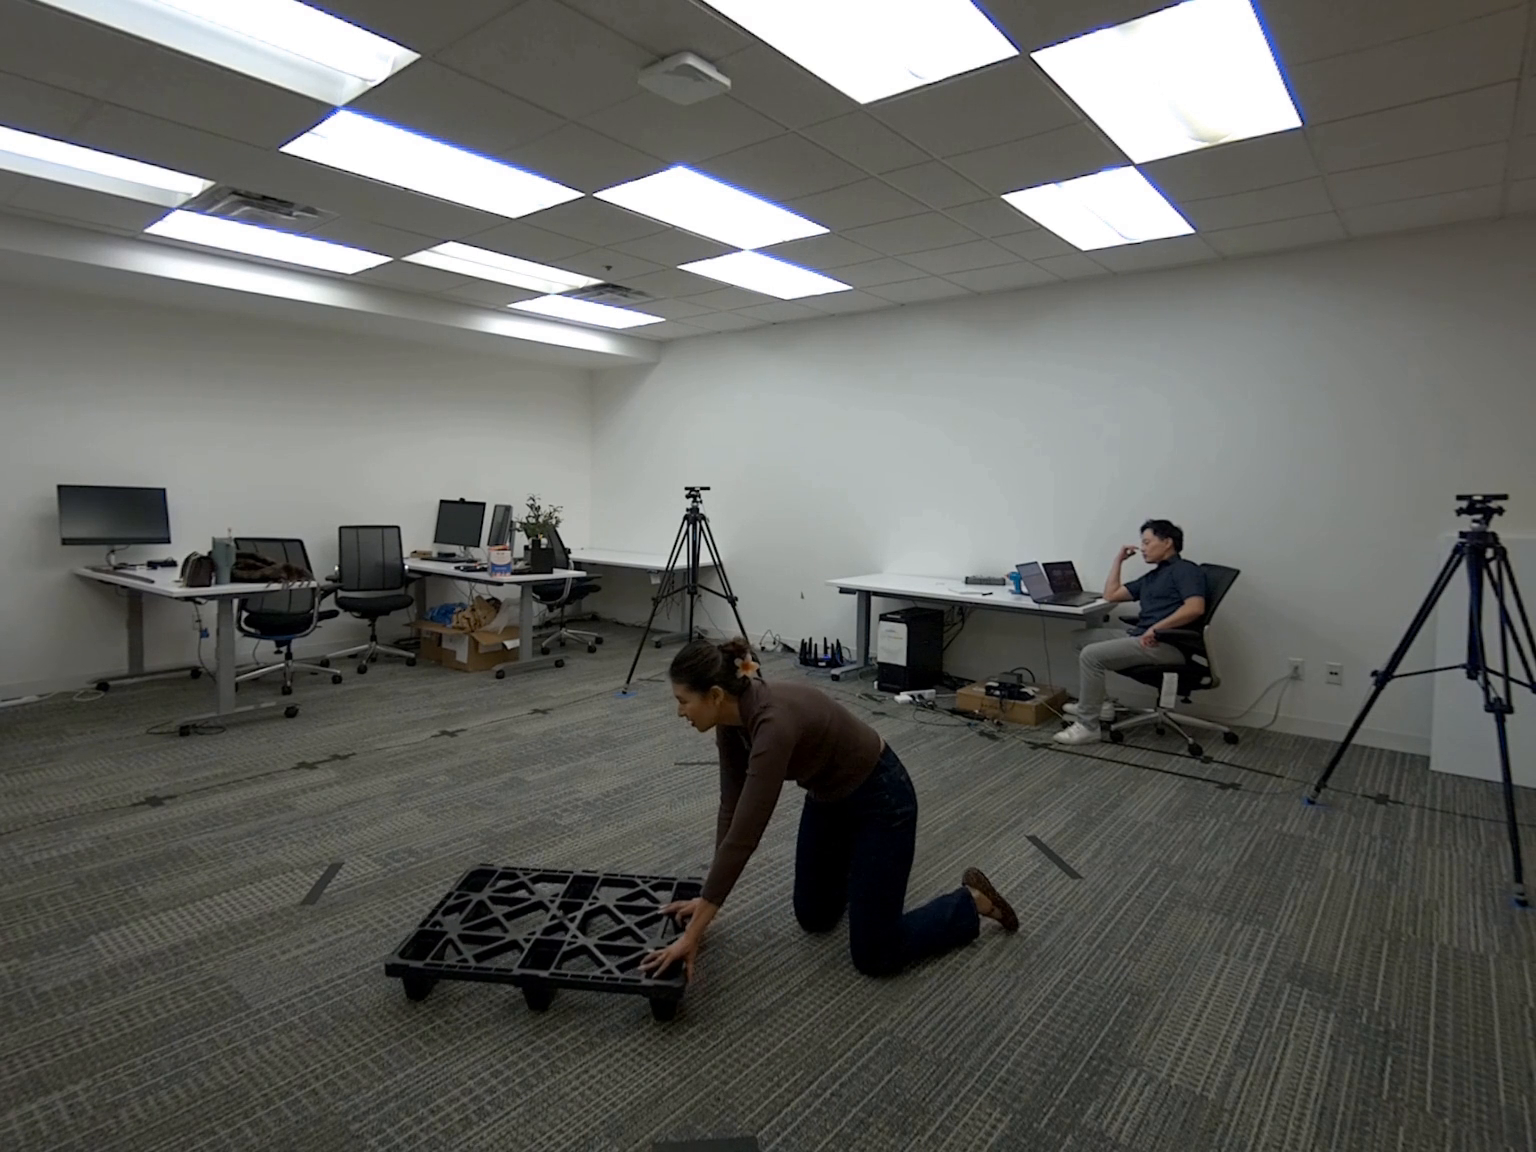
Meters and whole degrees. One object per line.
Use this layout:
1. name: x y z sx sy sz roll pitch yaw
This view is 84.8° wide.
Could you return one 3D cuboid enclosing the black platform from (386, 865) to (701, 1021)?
1. black platform: -0.607 1.059 2.484 0.811 0.142 0.604 1 7 5
